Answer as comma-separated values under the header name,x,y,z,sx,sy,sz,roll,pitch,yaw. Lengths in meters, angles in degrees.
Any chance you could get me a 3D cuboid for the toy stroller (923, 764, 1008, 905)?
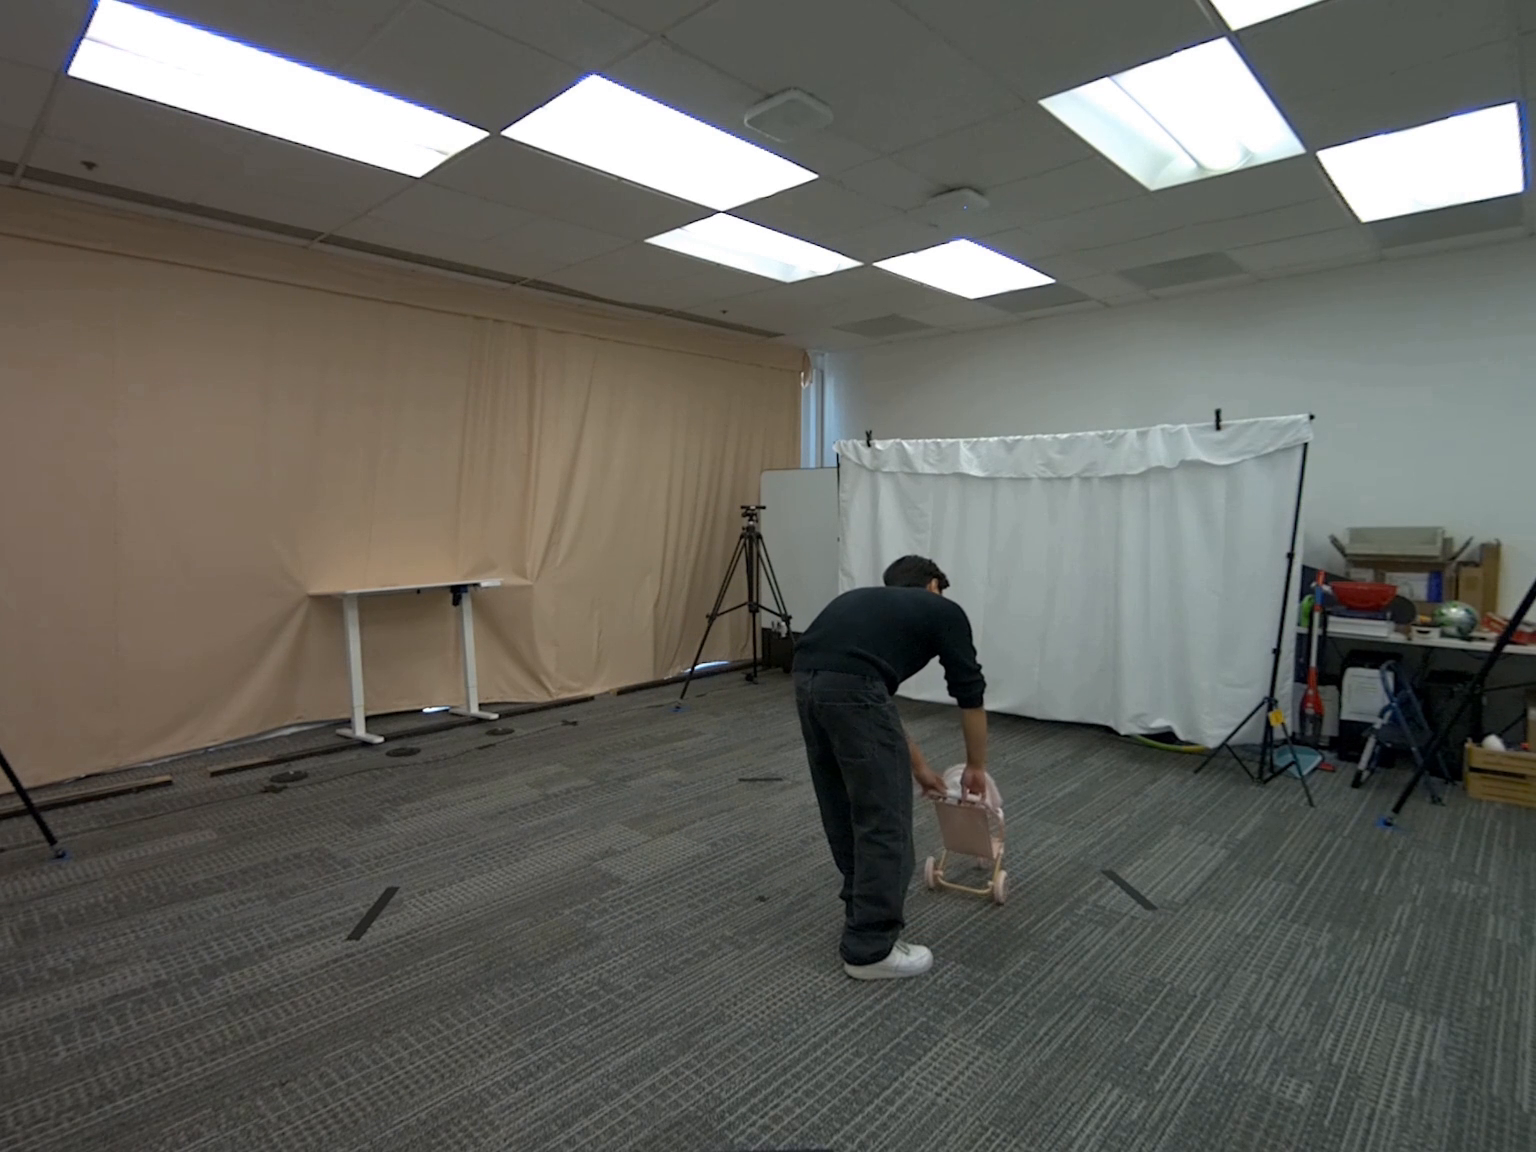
name,x,y,z,sx,sy,sz,roll,pitch,yaw
toy stroller,0.738,0.913,3.048,0.290,0.528,0.336,2,20,32
